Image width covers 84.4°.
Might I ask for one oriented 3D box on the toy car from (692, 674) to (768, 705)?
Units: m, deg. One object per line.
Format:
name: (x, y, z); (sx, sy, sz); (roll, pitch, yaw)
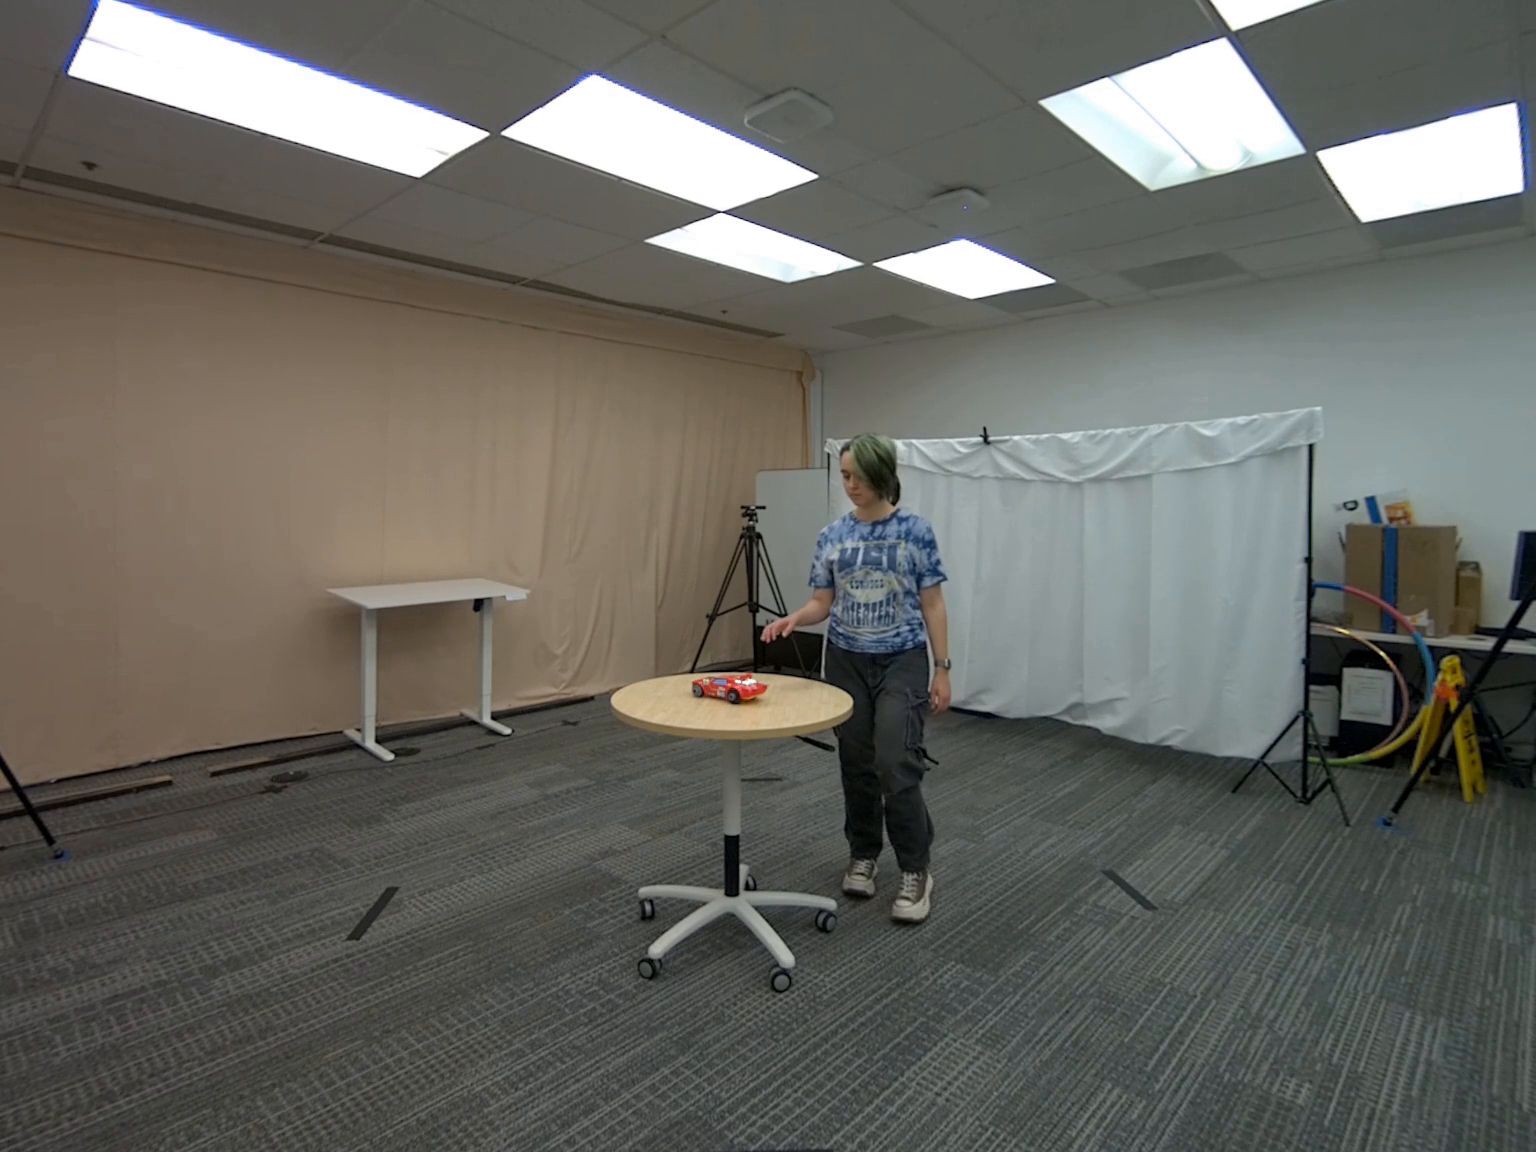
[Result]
toy car: (-0.116, 0.358, 2.654); (0.261, 0.083, 0.126); (-9, -2, 37)
